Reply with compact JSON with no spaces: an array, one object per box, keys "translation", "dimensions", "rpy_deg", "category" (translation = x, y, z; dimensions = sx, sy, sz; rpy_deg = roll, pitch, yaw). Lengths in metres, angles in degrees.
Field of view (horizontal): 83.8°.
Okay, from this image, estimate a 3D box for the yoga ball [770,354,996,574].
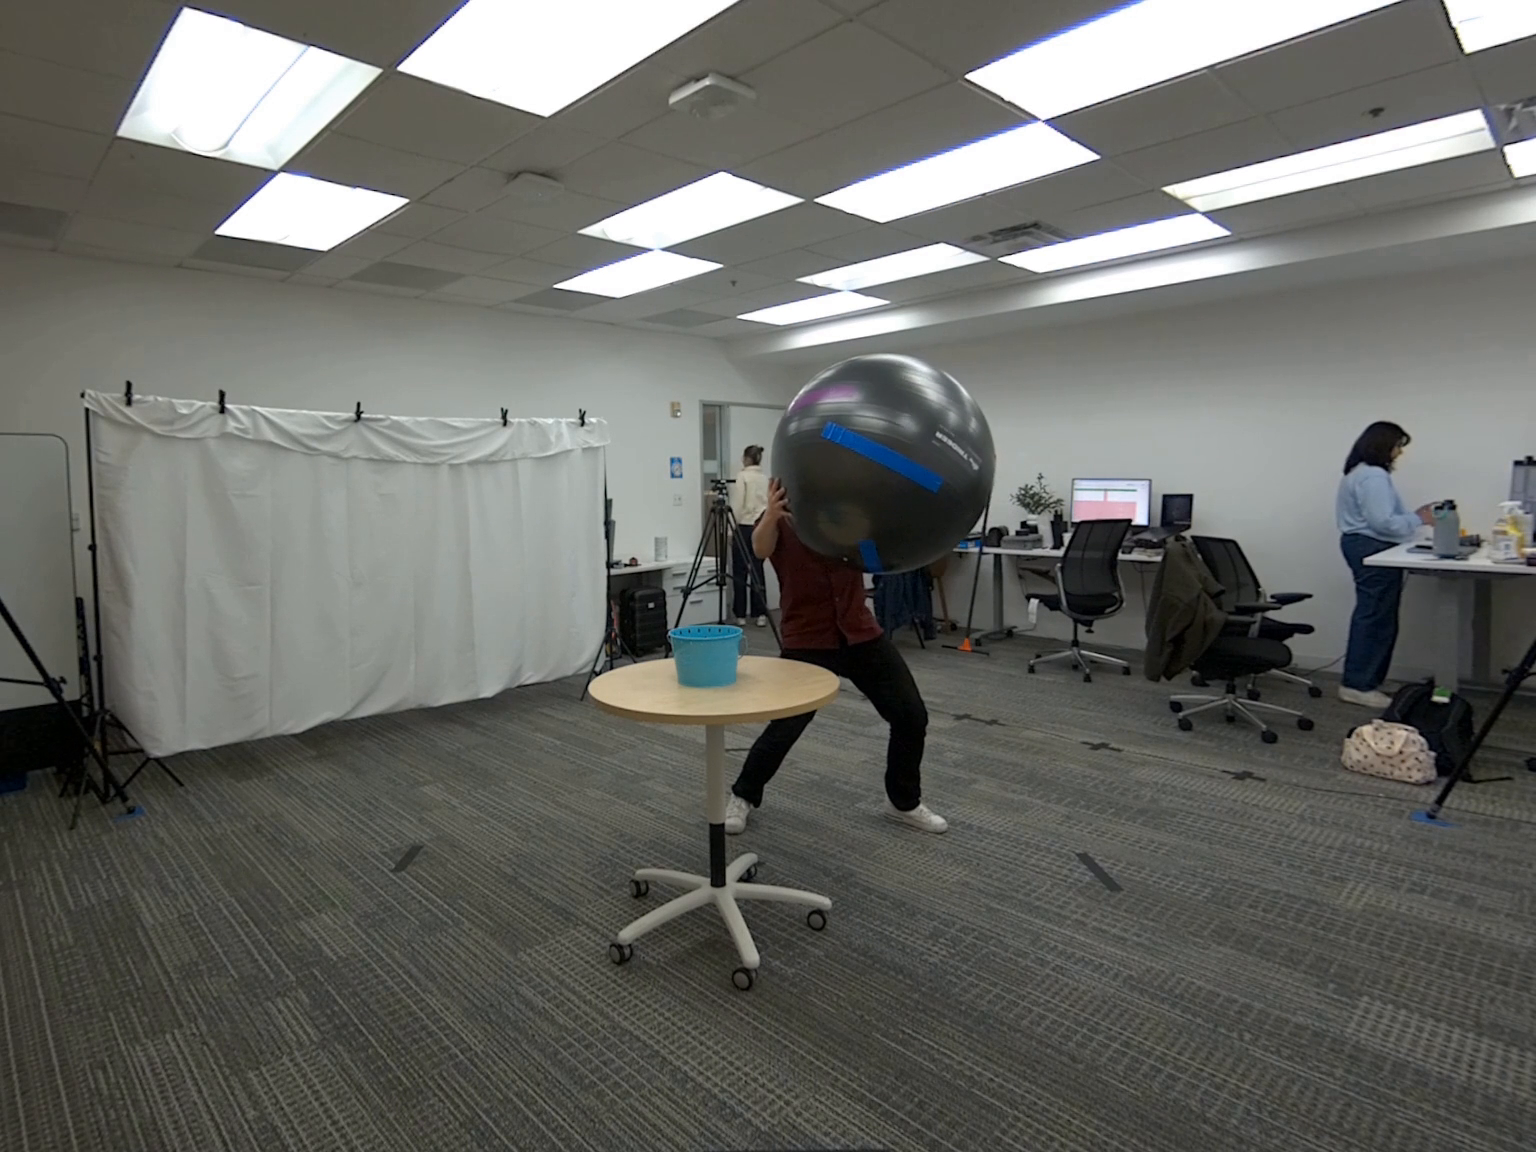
[{"translation":[0.399,-0.377,2.966],"dimensions":[0.757,0.755,0.762],"rpy_deg":[-1,5,-2],"category":"yoga ball"}]
